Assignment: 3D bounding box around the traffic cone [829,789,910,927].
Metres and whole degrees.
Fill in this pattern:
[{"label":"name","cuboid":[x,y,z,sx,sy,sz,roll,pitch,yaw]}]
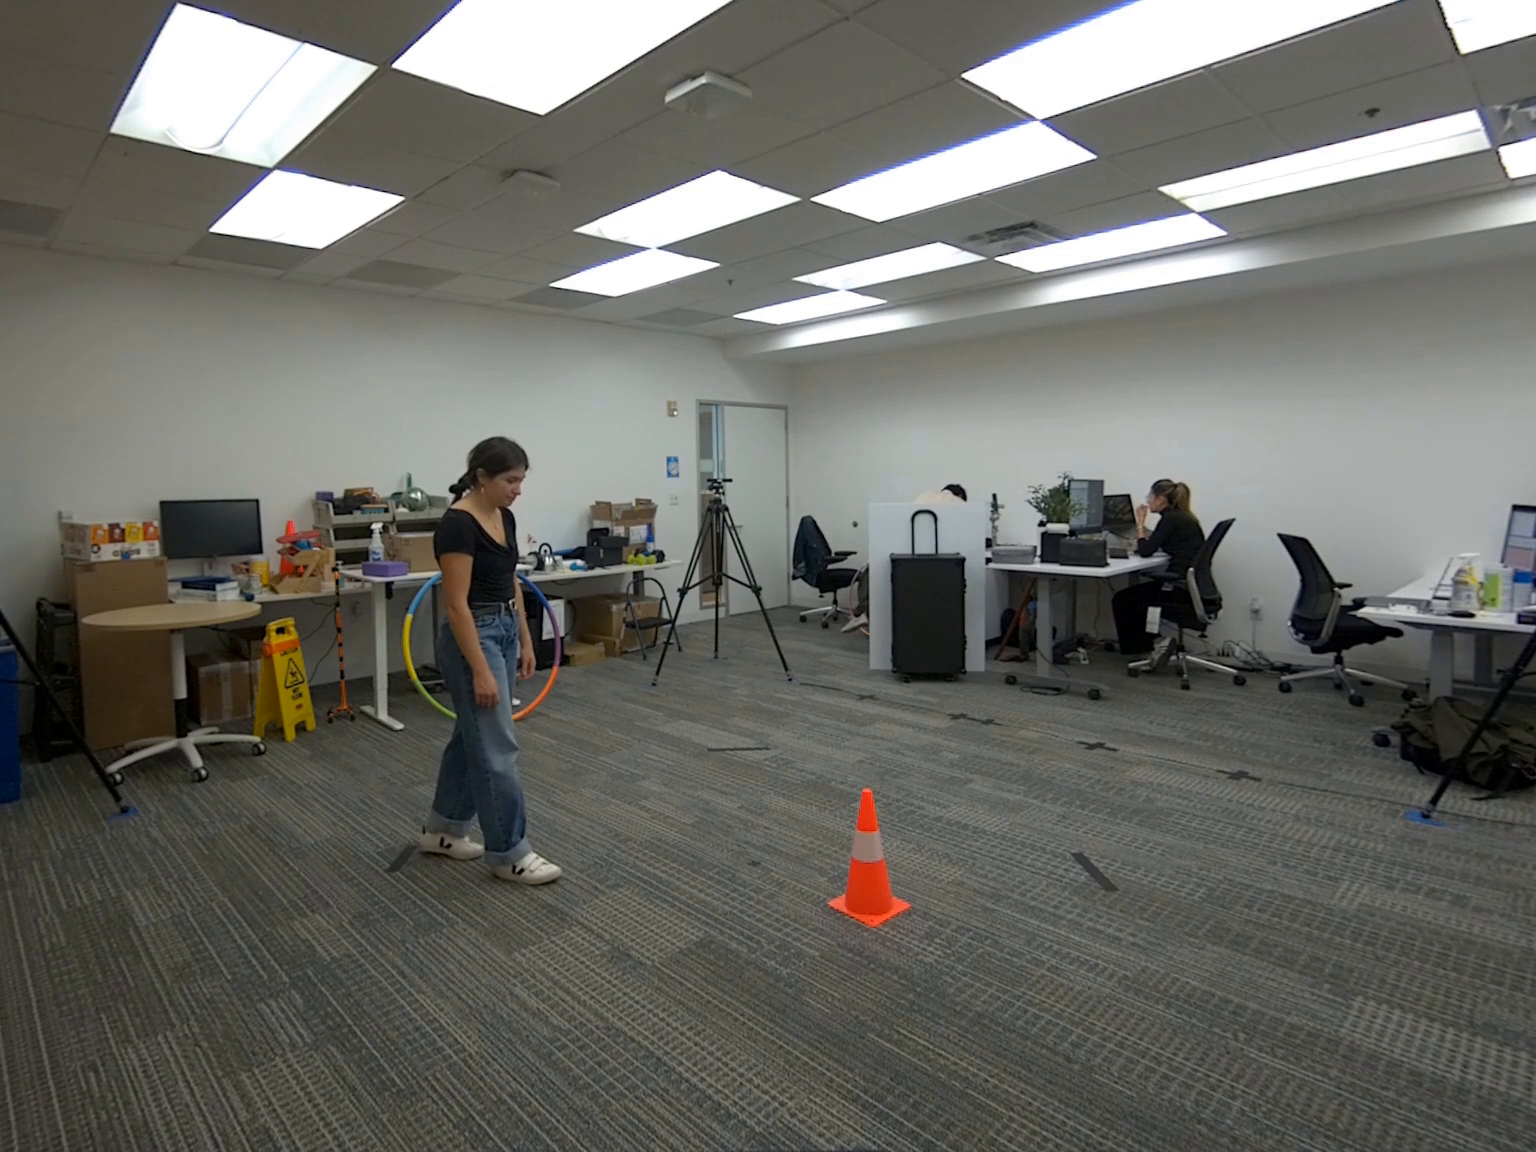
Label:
[{"label":"traffic cone","cuboid":[0.320,0.883,2.781,0.198,0.382,0.211,-5,5,-43]}]
